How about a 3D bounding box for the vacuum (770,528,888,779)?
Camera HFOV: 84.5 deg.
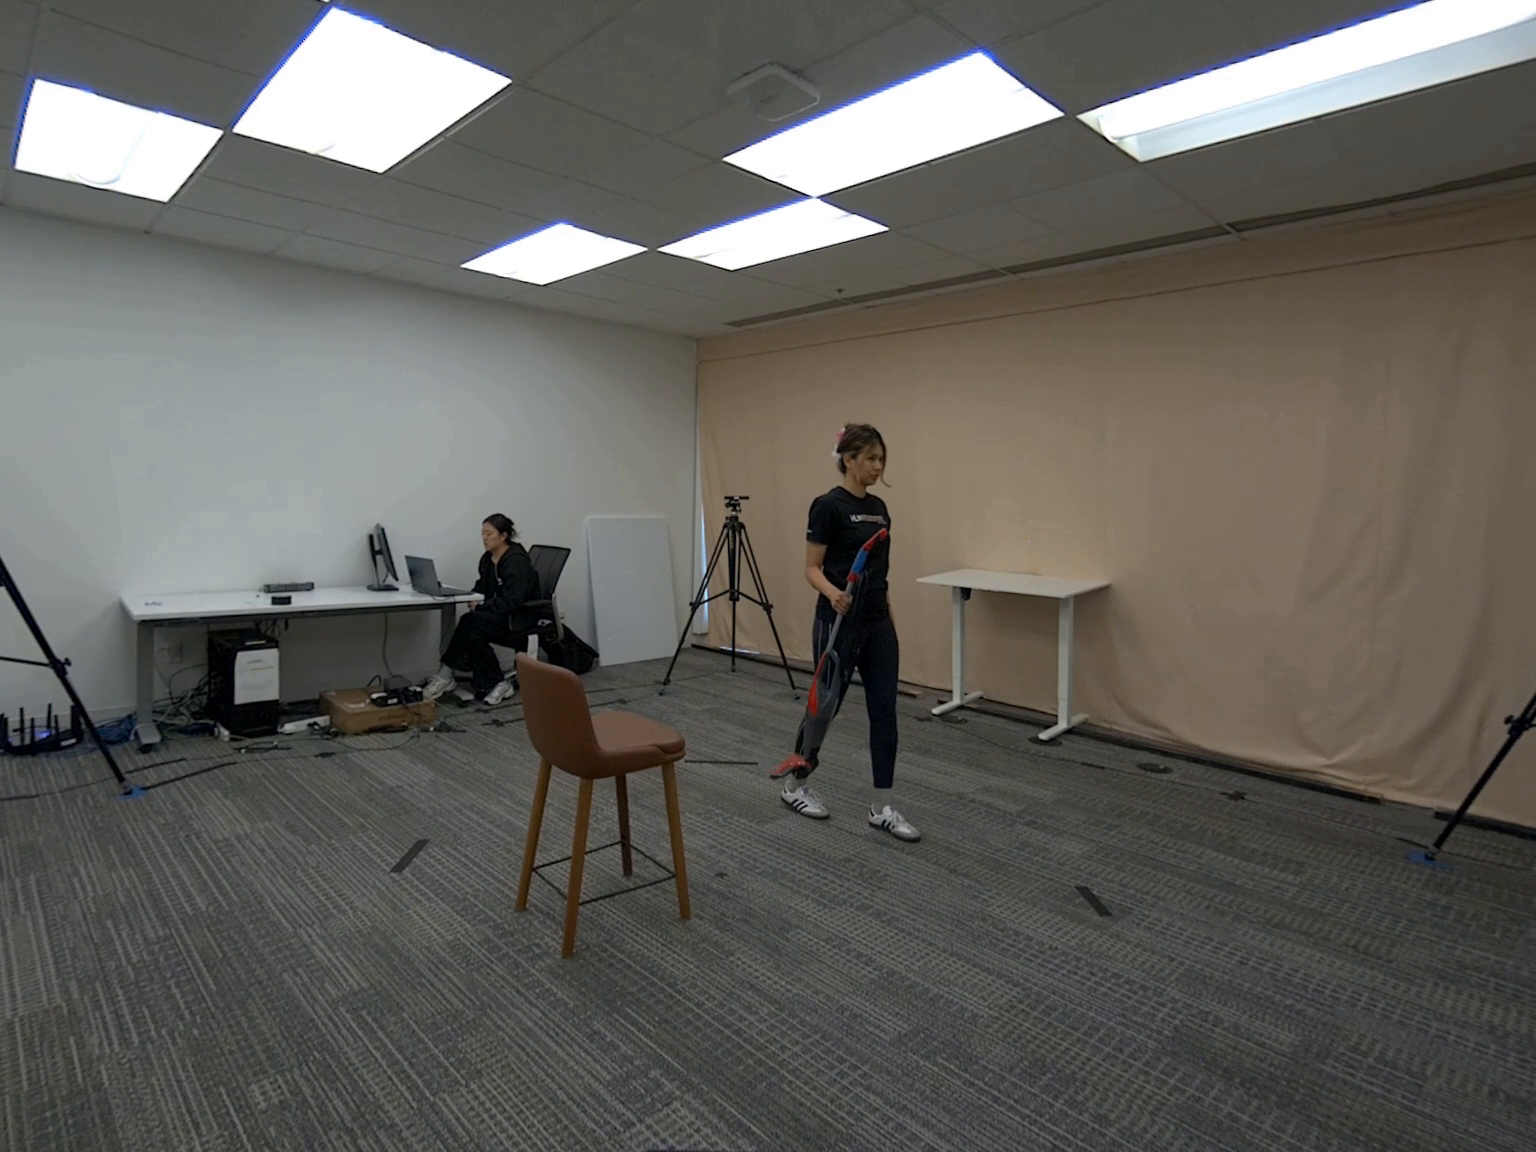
[{"bbox_3d":[0.266,0.320,3.297,0.147,1.042,0.248,25,16,25],"label":"vacuum"}]
